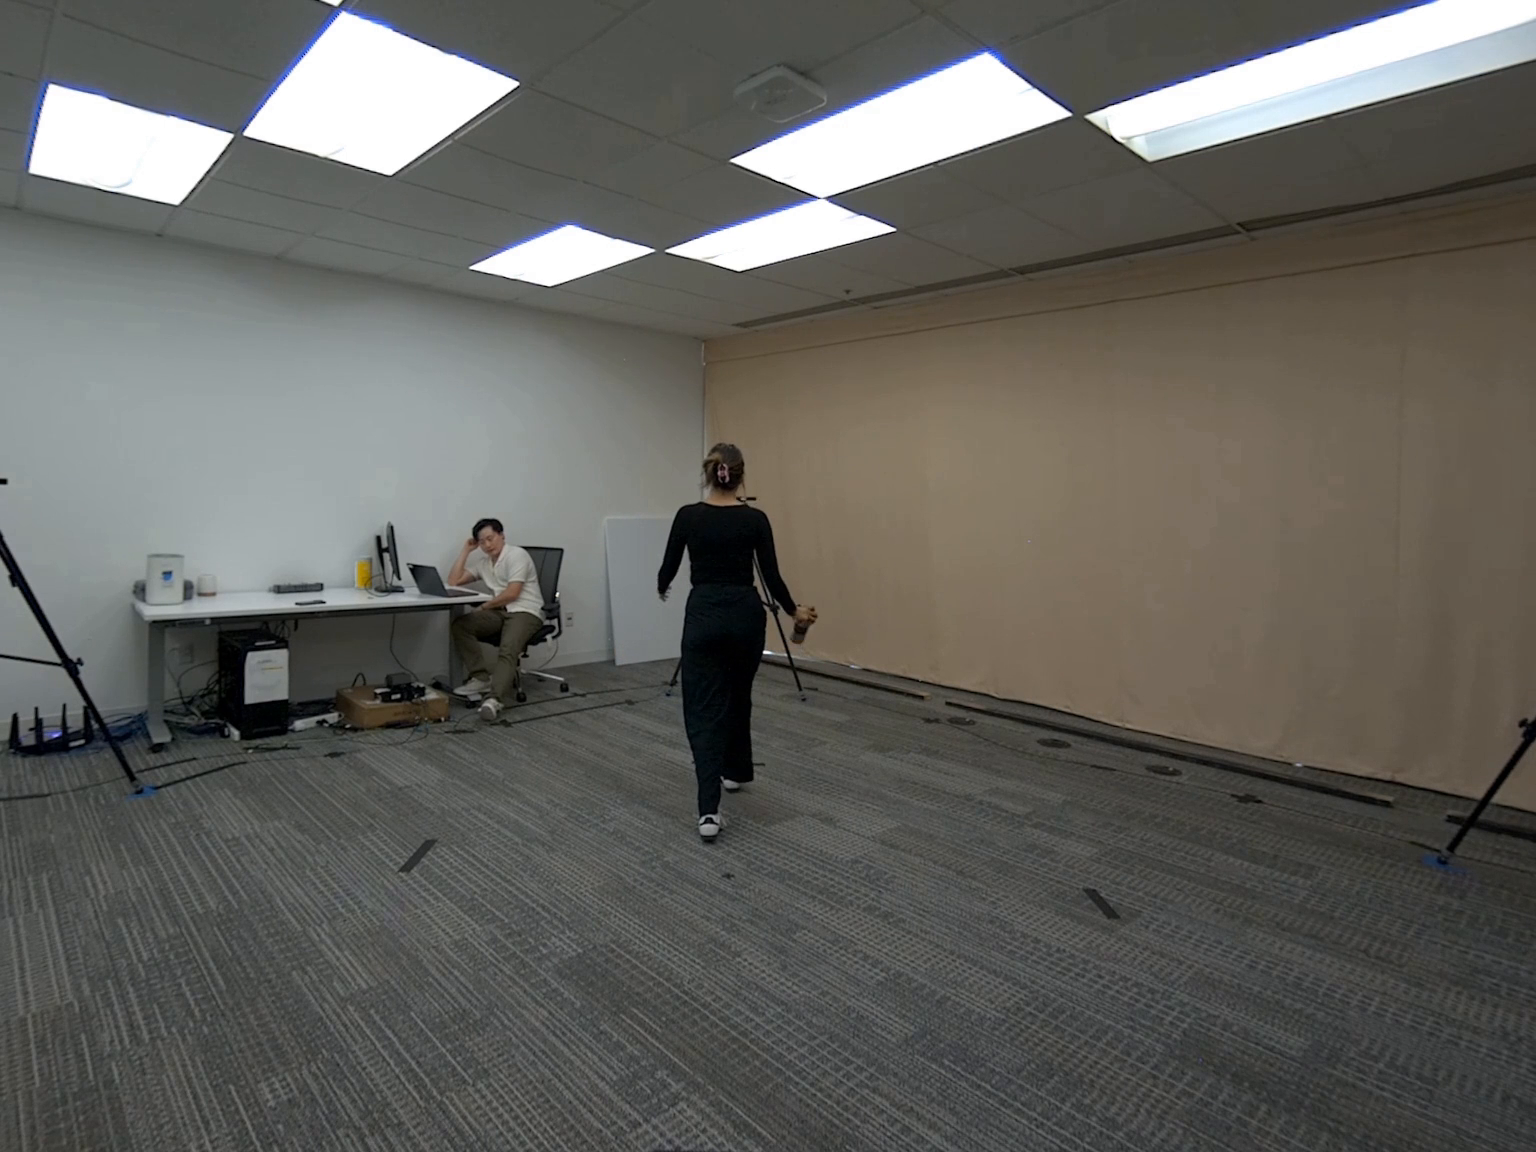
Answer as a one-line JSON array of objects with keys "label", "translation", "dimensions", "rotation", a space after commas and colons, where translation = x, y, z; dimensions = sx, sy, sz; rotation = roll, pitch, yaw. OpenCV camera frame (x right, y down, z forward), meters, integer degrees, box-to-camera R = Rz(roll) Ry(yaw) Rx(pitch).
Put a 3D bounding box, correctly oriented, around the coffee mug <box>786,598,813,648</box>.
[{"label": "coffee mug", "translation": [0.151, 0.227, 4.099], "dimensions": [0.087, 0.199, 0.124], "rotation": [7, 41, -6]}]
